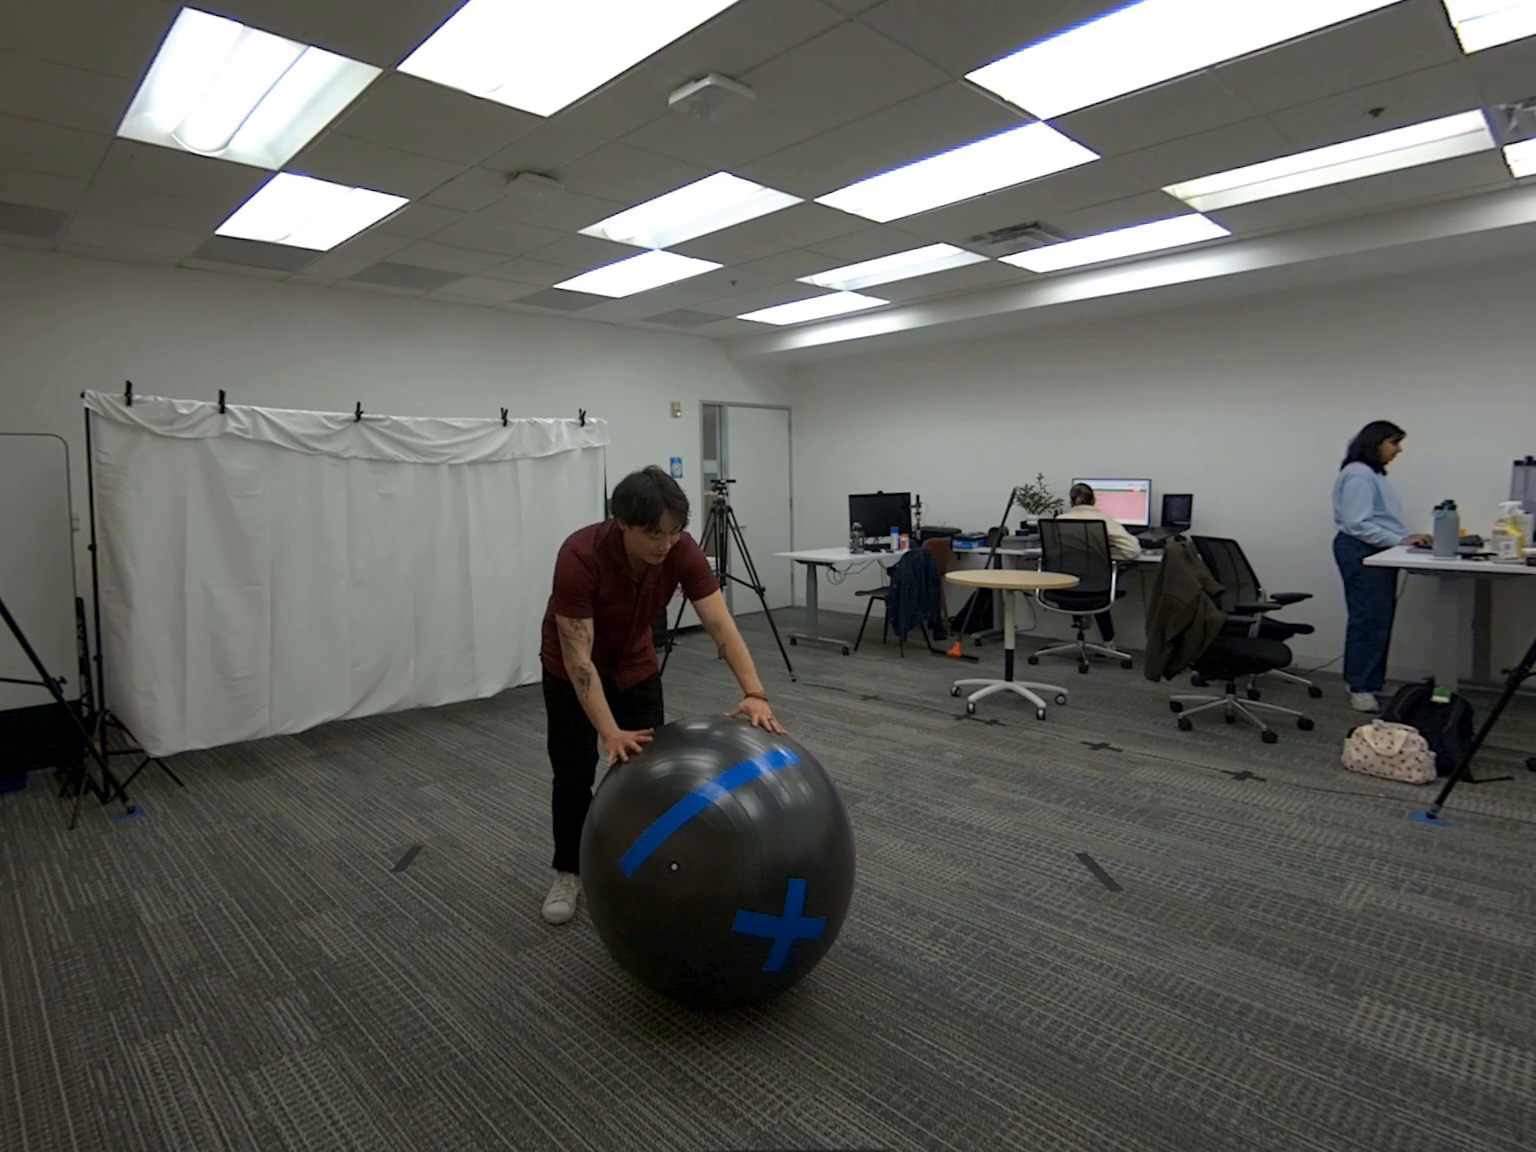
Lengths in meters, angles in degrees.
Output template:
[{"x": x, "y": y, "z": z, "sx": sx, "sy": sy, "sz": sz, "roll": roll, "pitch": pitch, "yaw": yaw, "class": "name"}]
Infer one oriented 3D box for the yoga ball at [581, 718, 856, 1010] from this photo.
[{"x": -0.131, "y": 0.783, "z": 2.357, "sx": 0.757, "sy": 0.755, "sz": 0.762, "roll": -1, "pitch": 5, "yaw": -2, "class": "yoga ball"}]
